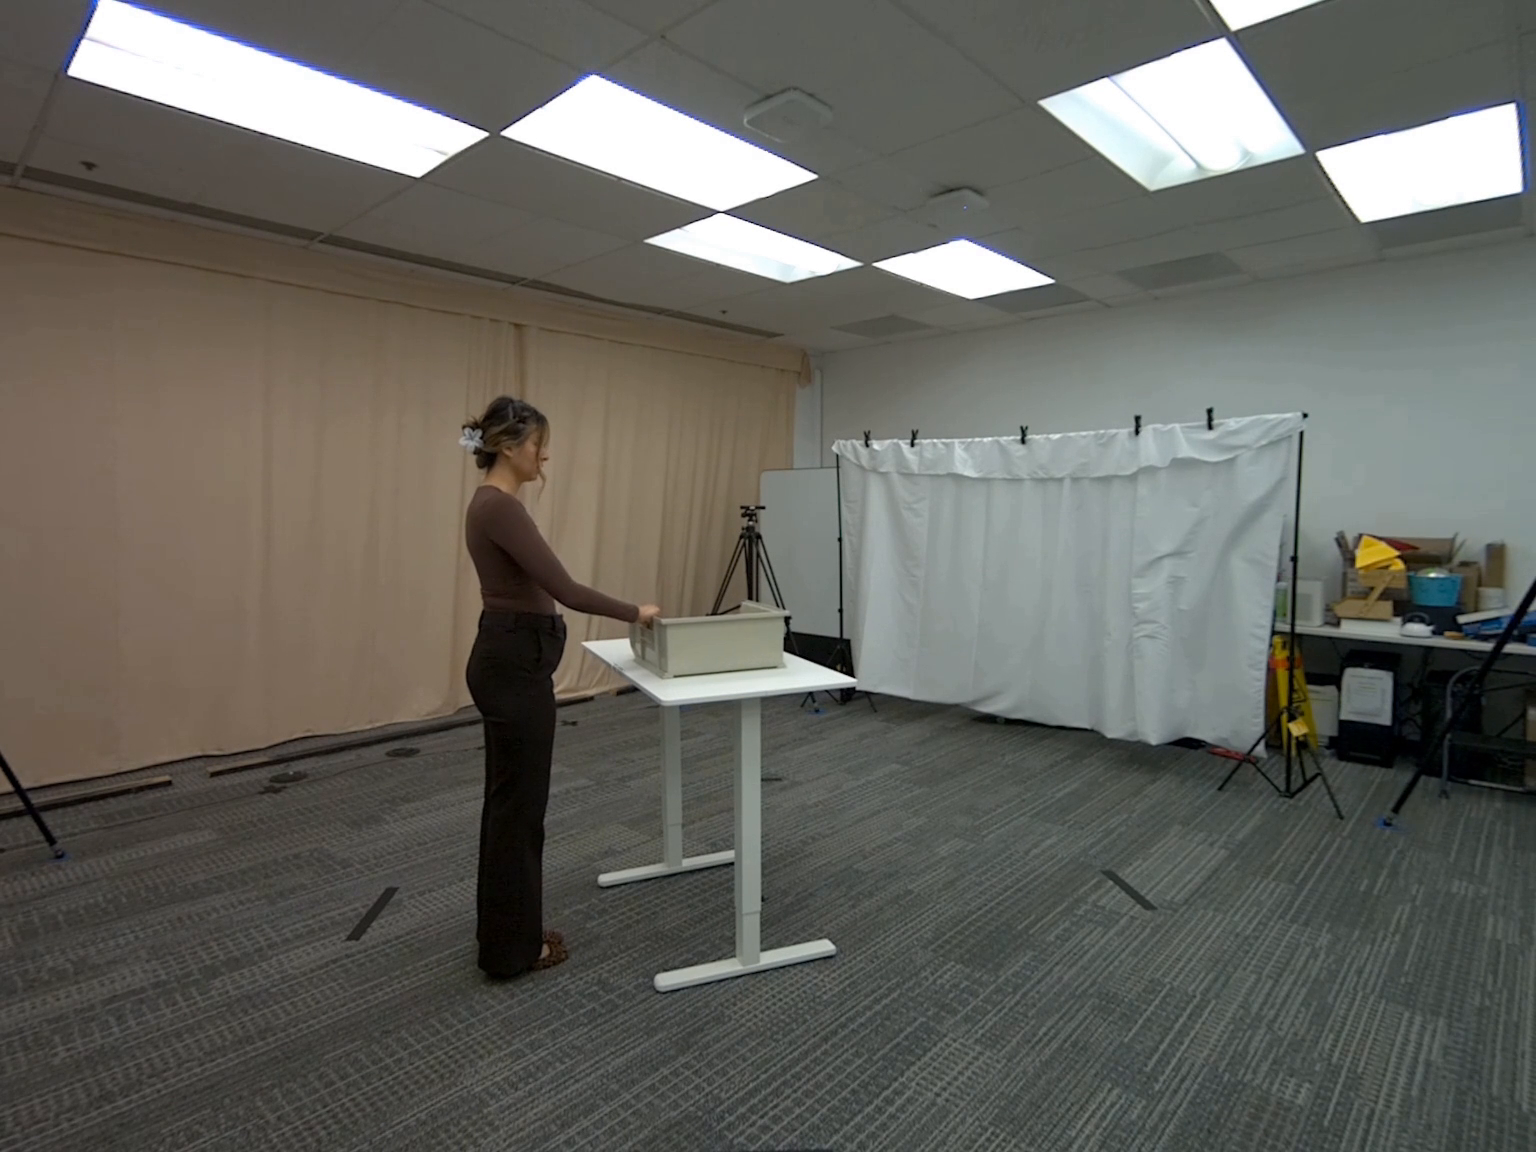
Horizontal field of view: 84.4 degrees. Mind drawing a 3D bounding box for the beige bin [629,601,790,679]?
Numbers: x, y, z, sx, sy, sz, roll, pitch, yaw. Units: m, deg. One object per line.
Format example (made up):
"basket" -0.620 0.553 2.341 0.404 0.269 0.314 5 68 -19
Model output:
"beige bin" -0.202 0.196 2.728 0.413 0.188 0.387 -2 5 -23
